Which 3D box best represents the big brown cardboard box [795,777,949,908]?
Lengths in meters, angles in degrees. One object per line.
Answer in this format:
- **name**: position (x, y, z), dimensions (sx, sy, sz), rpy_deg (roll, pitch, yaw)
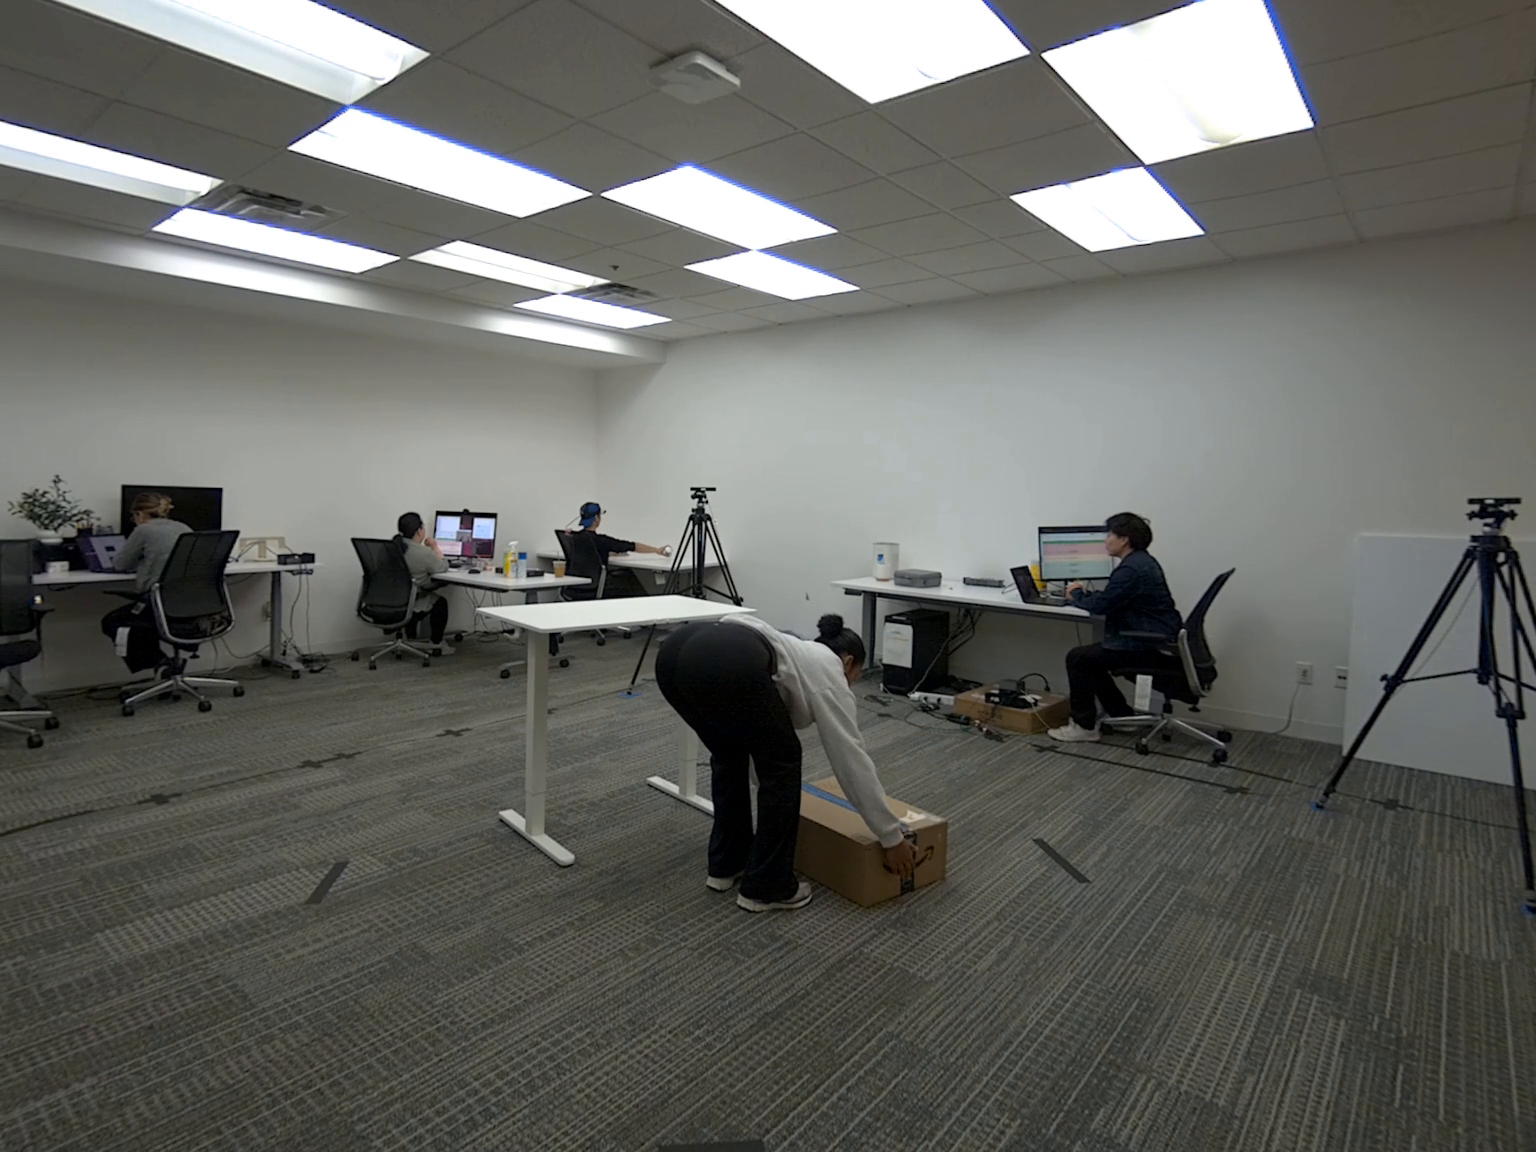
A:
- **big brown cardboard box**: position (0.298, 0.962, 3.166), dimensions (0.405, 0.232, 0.609), rpy_deg (-2, 6, -39)
